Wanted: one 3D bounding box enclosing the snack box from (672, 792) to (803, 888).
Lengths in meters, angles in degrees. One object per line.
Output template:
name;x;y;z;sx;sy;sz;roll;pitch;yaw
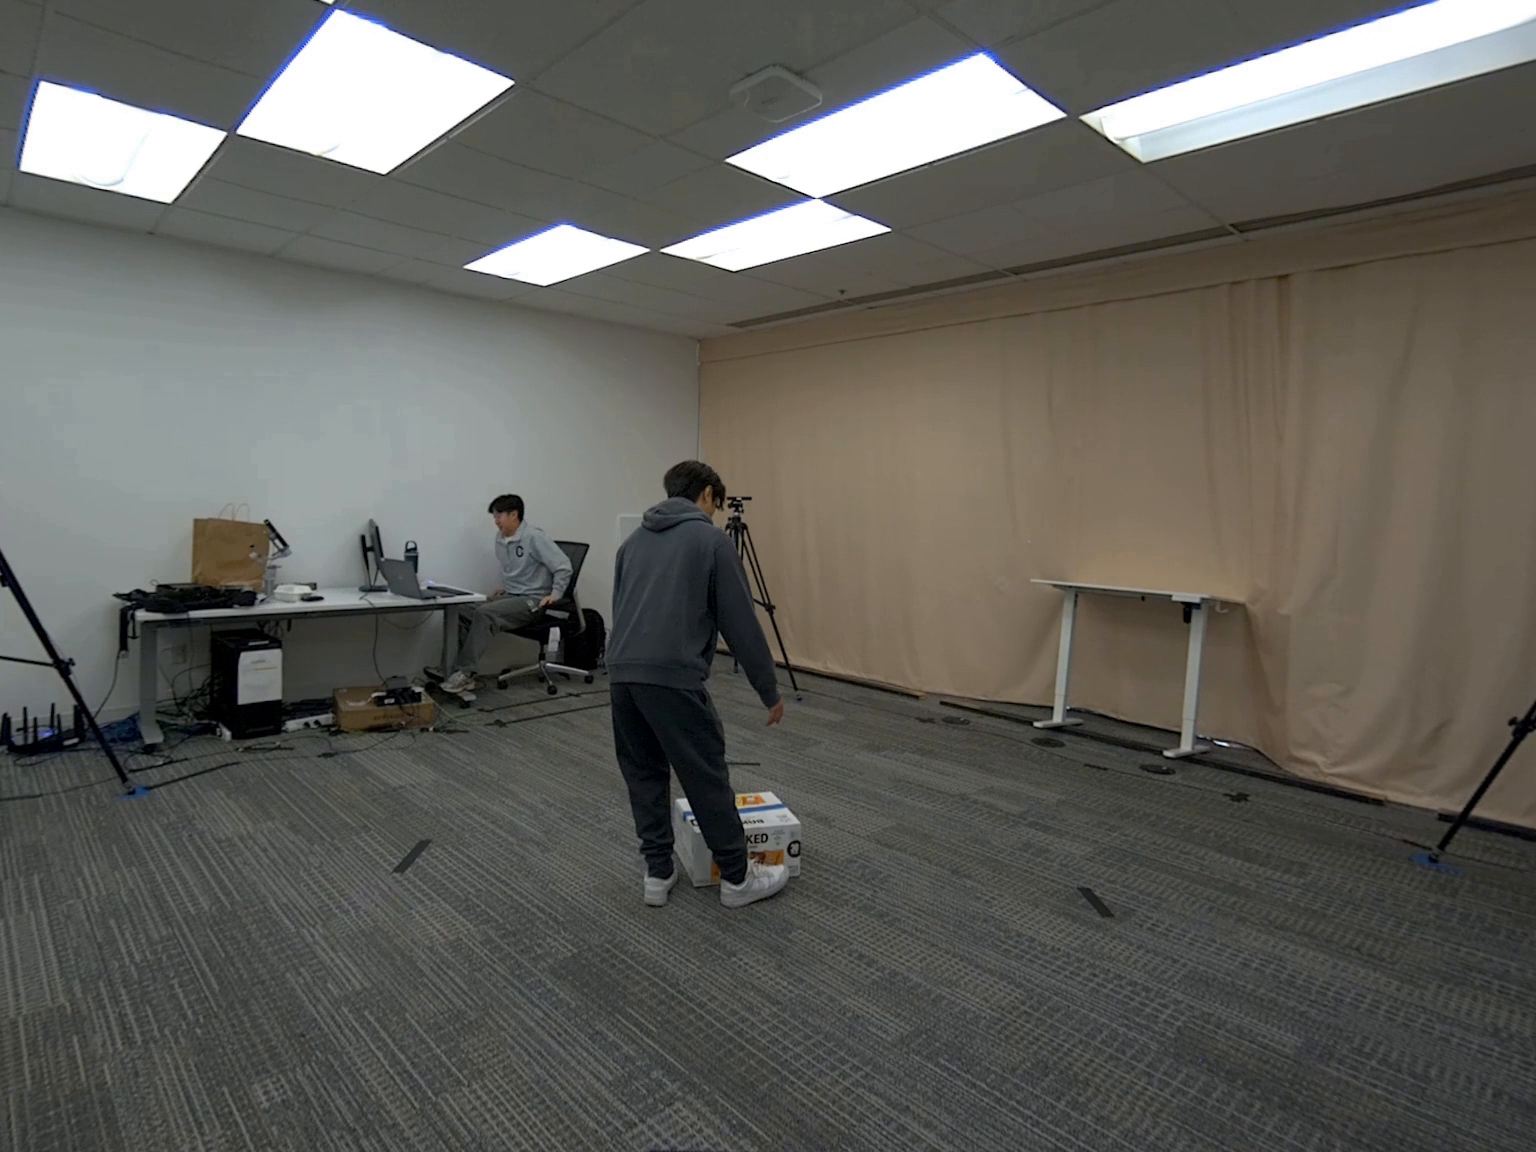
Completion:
snack box;-0.131;0.995;3.207;0.400;0.205;0.346;0;5;-18
